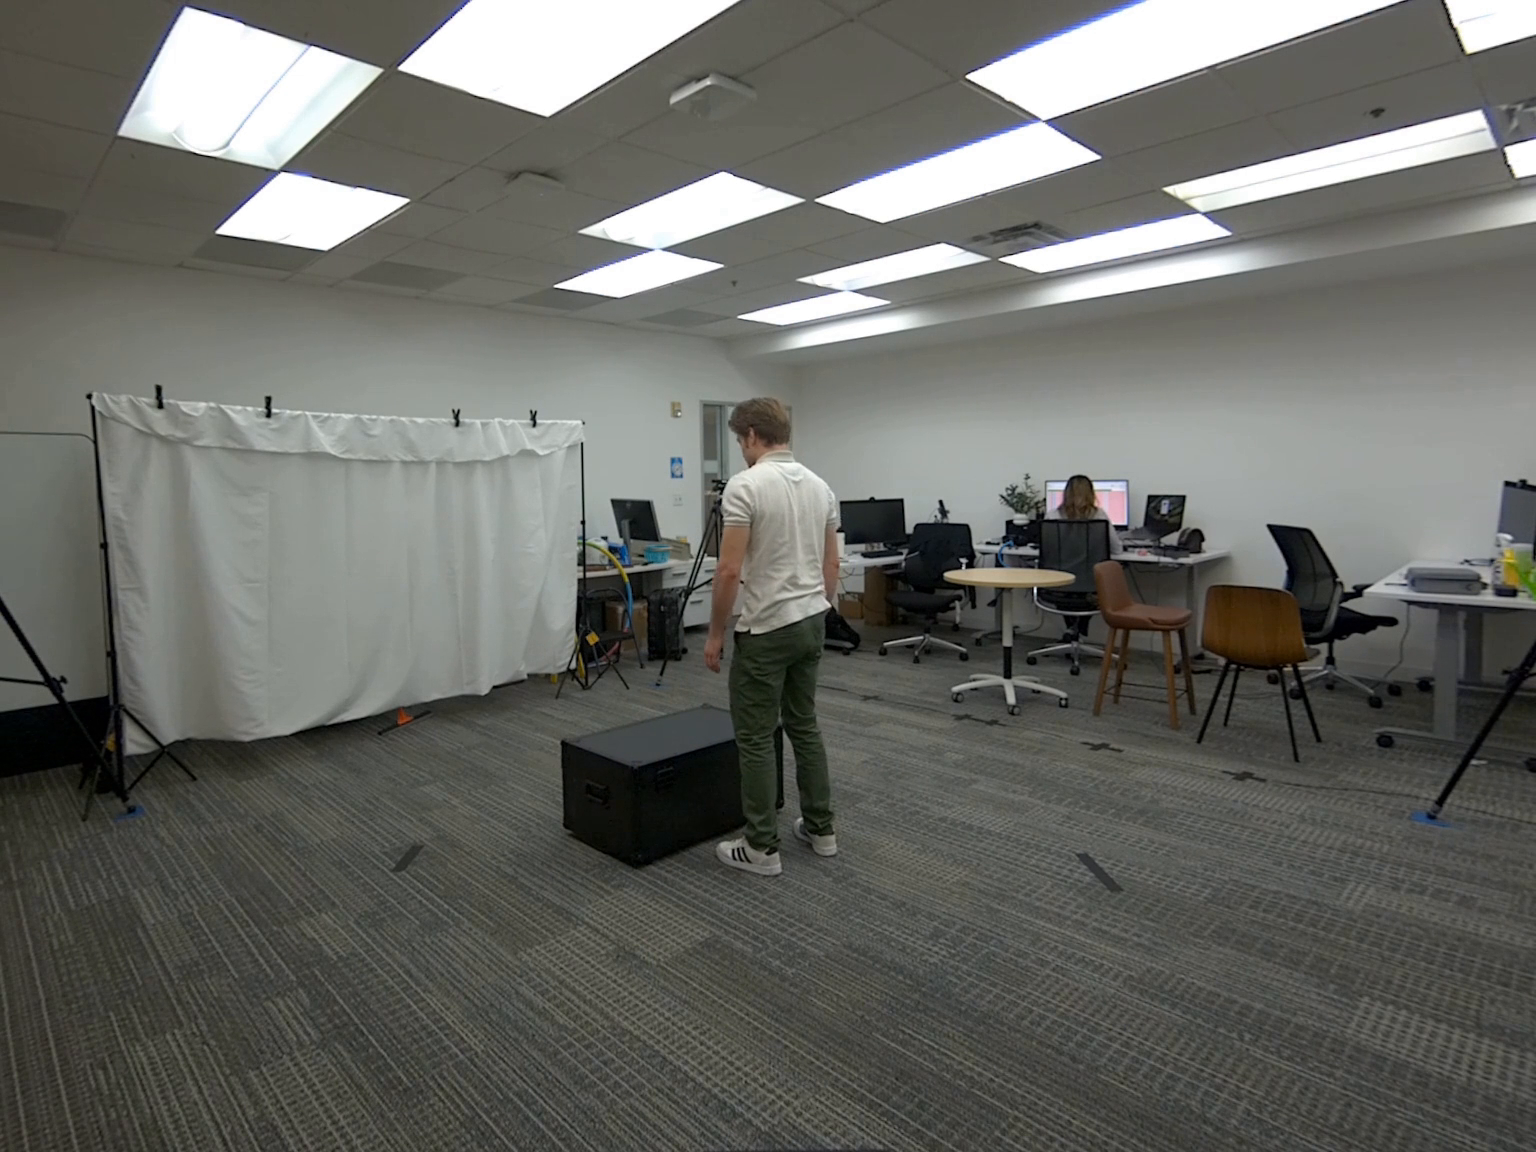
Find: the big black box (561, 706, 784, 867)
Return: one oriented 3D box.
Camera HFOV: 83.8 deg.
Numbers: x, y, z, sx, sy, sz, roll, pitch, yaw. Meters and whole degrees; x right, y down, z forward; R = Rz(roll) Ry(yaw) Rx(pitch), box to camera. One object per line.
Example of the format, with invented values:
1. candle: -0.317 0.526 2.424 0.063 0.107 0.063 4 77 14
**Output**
1. big black box: -0.346 0.813 3.507 0.845 0.384 0.539 -6 6 -44
